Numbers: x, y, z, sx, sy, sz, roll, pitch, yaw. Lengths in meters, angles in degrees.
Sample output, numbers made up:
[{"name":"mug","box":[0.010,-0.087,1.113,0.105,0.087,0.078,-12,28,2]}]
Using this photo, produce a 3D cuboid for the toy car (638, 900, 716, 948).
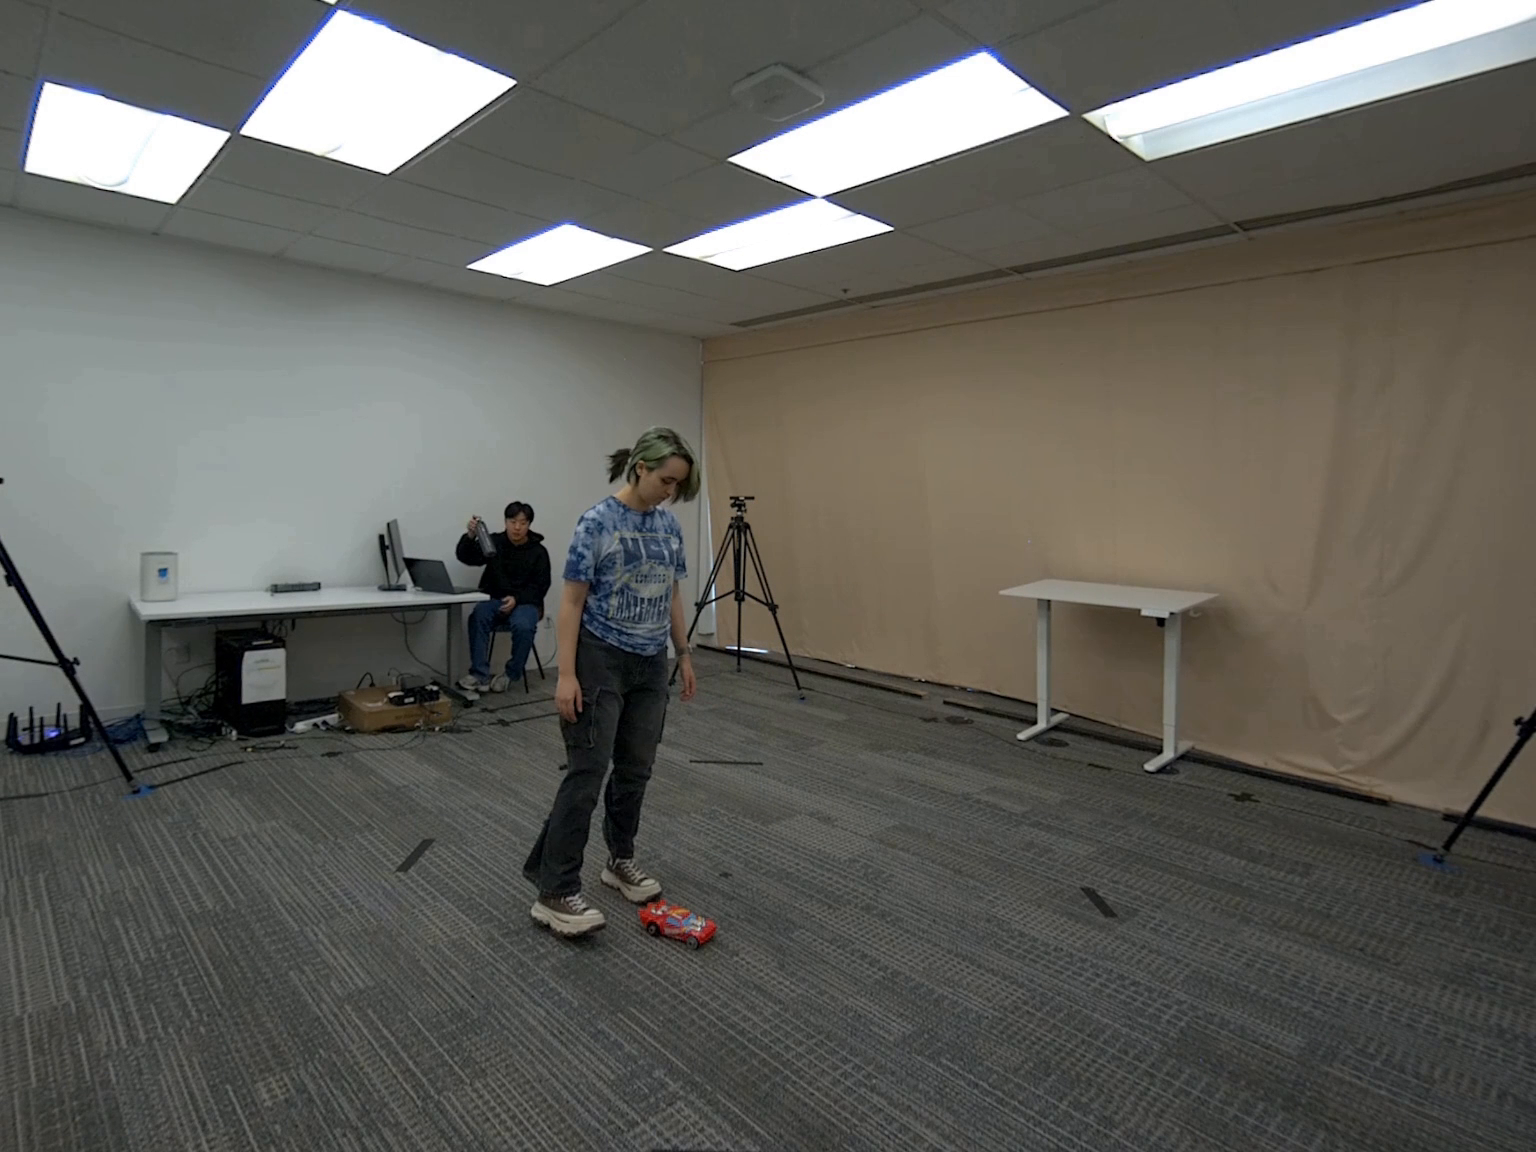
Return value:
[{"name":"toy car","box":[-0.302,1.111,2.670,0.261,0.083,0.128,16,10,27]}]
